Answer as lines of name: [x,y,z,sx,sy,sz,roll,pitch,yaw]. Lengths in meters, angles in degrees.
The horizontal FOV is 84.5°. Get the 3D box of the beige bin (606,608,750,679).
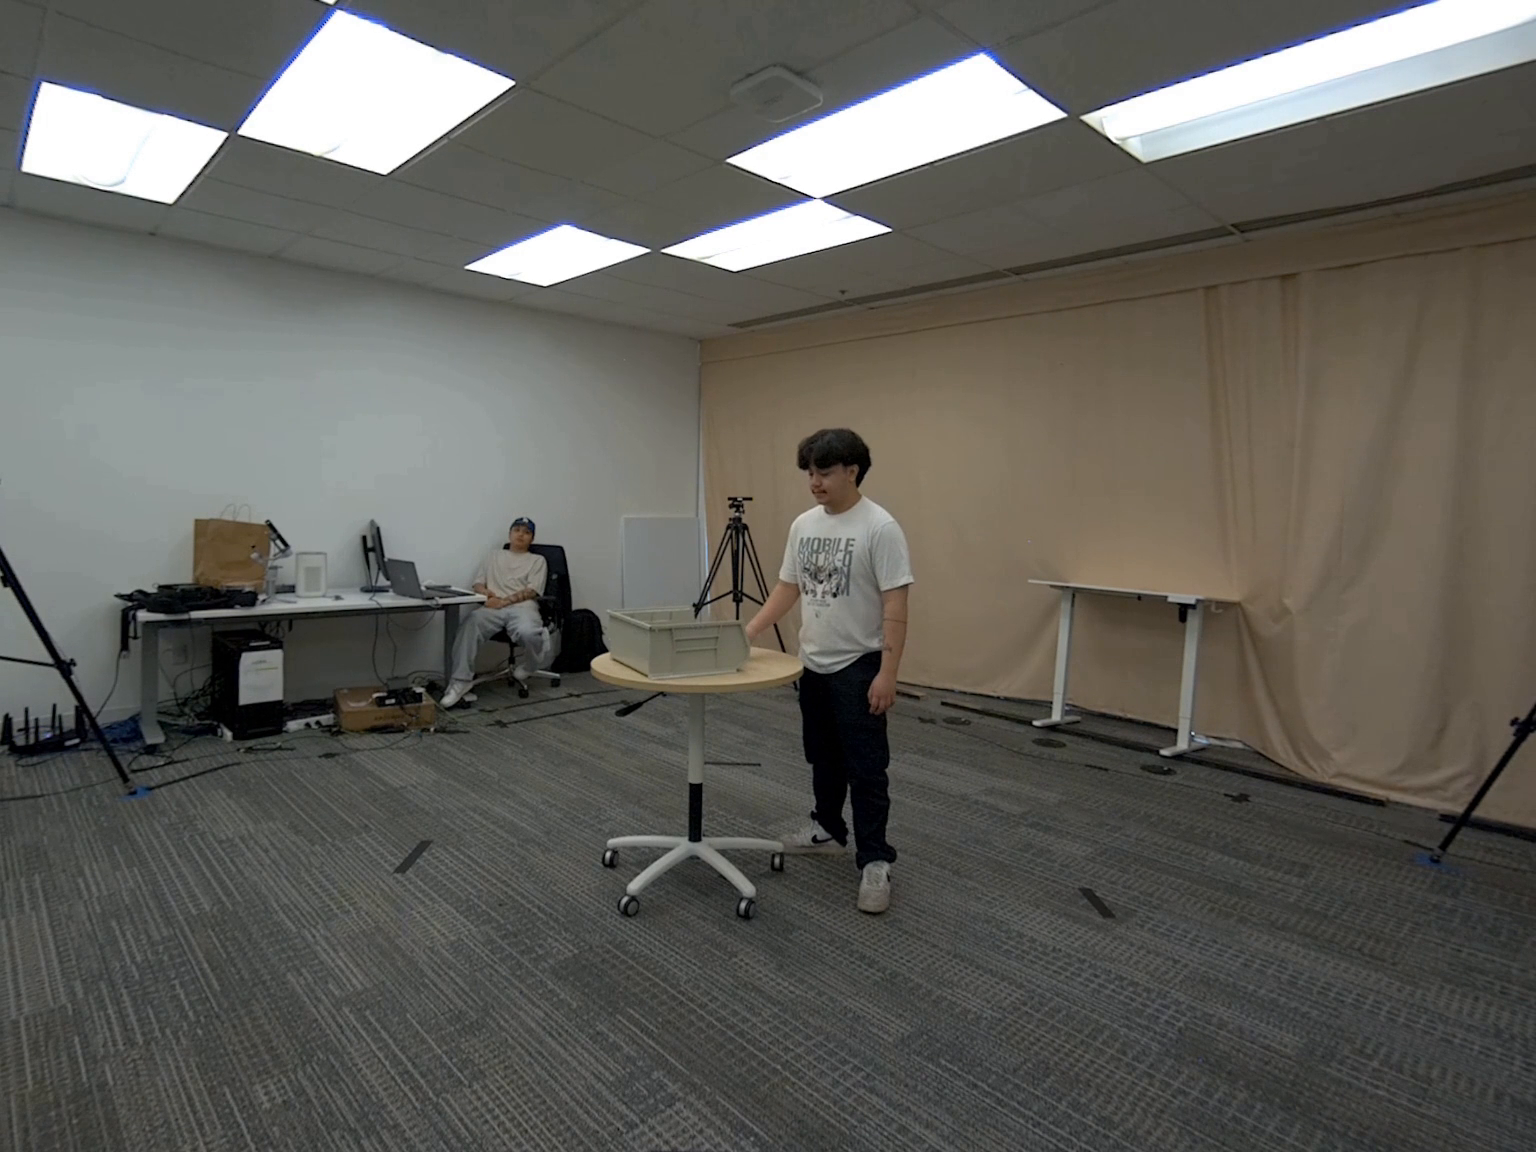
beige bin: [-0.330,0.227,2.975,0.370,0.188,0.432,-3,7,-30]
